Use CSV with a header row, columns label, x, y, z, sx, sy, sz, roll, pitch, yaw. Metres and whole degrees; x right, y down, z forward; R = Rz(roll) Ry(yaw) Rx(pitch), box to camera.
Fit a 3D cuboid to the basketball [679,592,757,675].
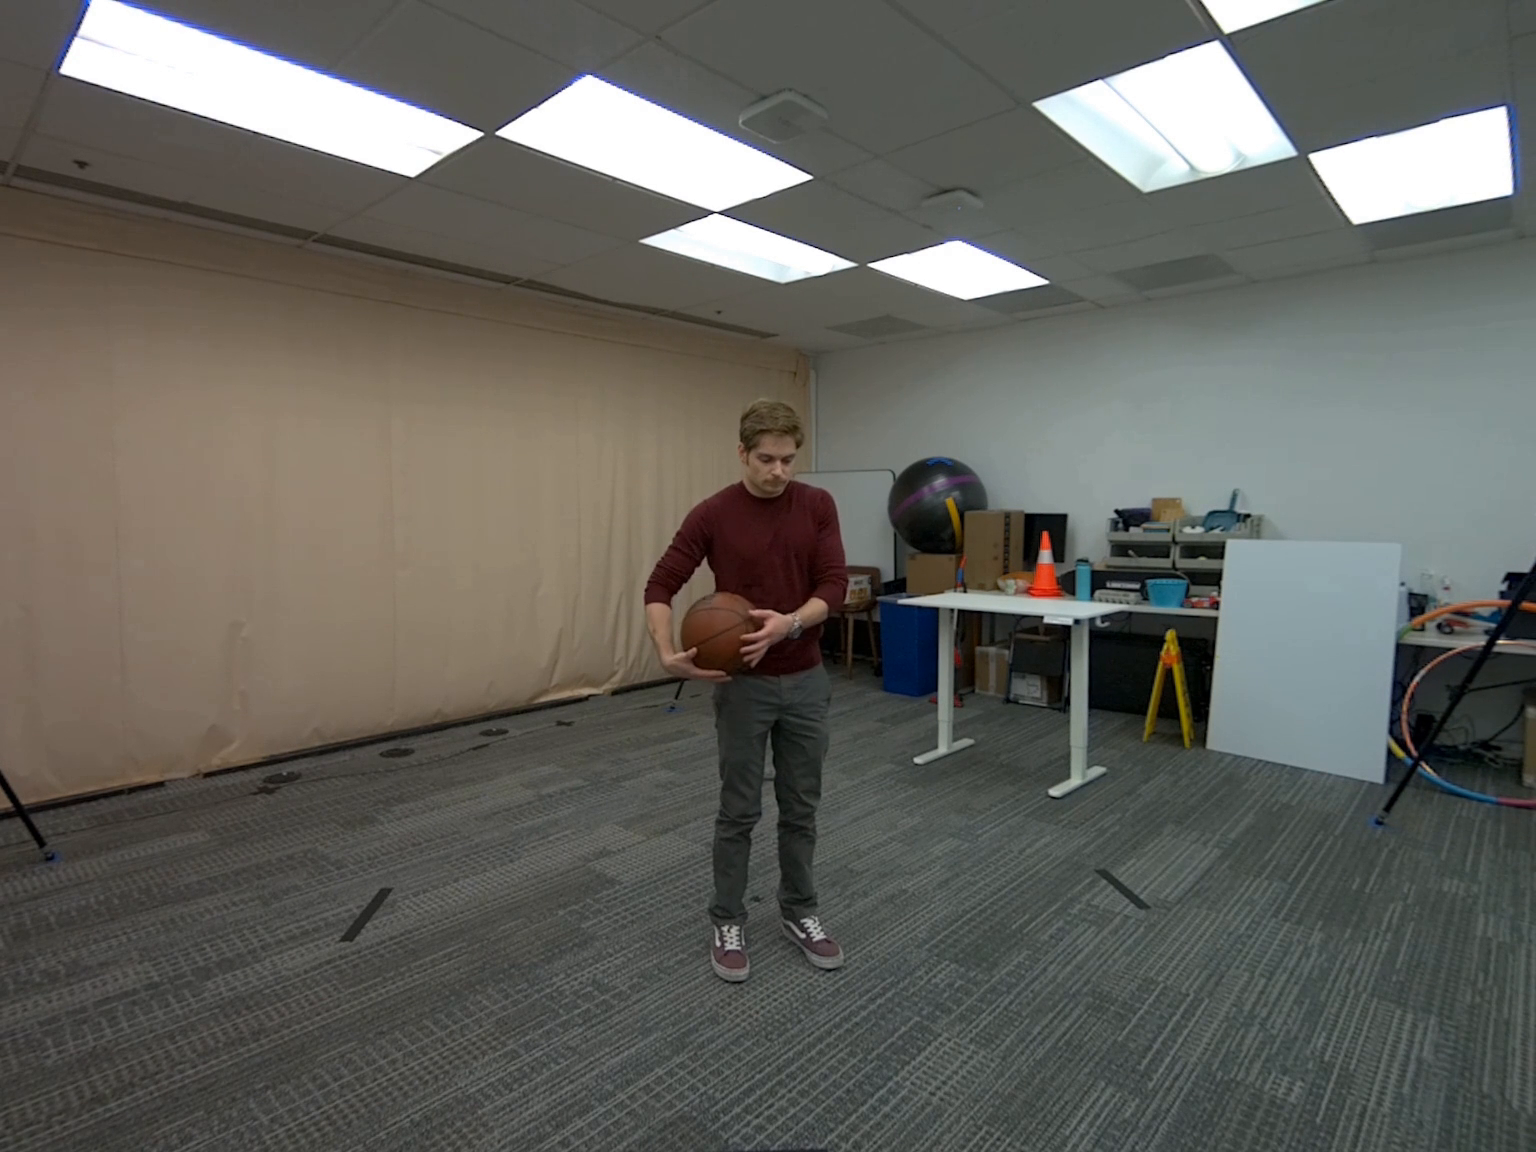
label,x,y,z,sx,sy,sz,roll,pitch,yaw
basketball,-0.108,0.162,2.392,0.236,0.235,0.237,0,4,-2
